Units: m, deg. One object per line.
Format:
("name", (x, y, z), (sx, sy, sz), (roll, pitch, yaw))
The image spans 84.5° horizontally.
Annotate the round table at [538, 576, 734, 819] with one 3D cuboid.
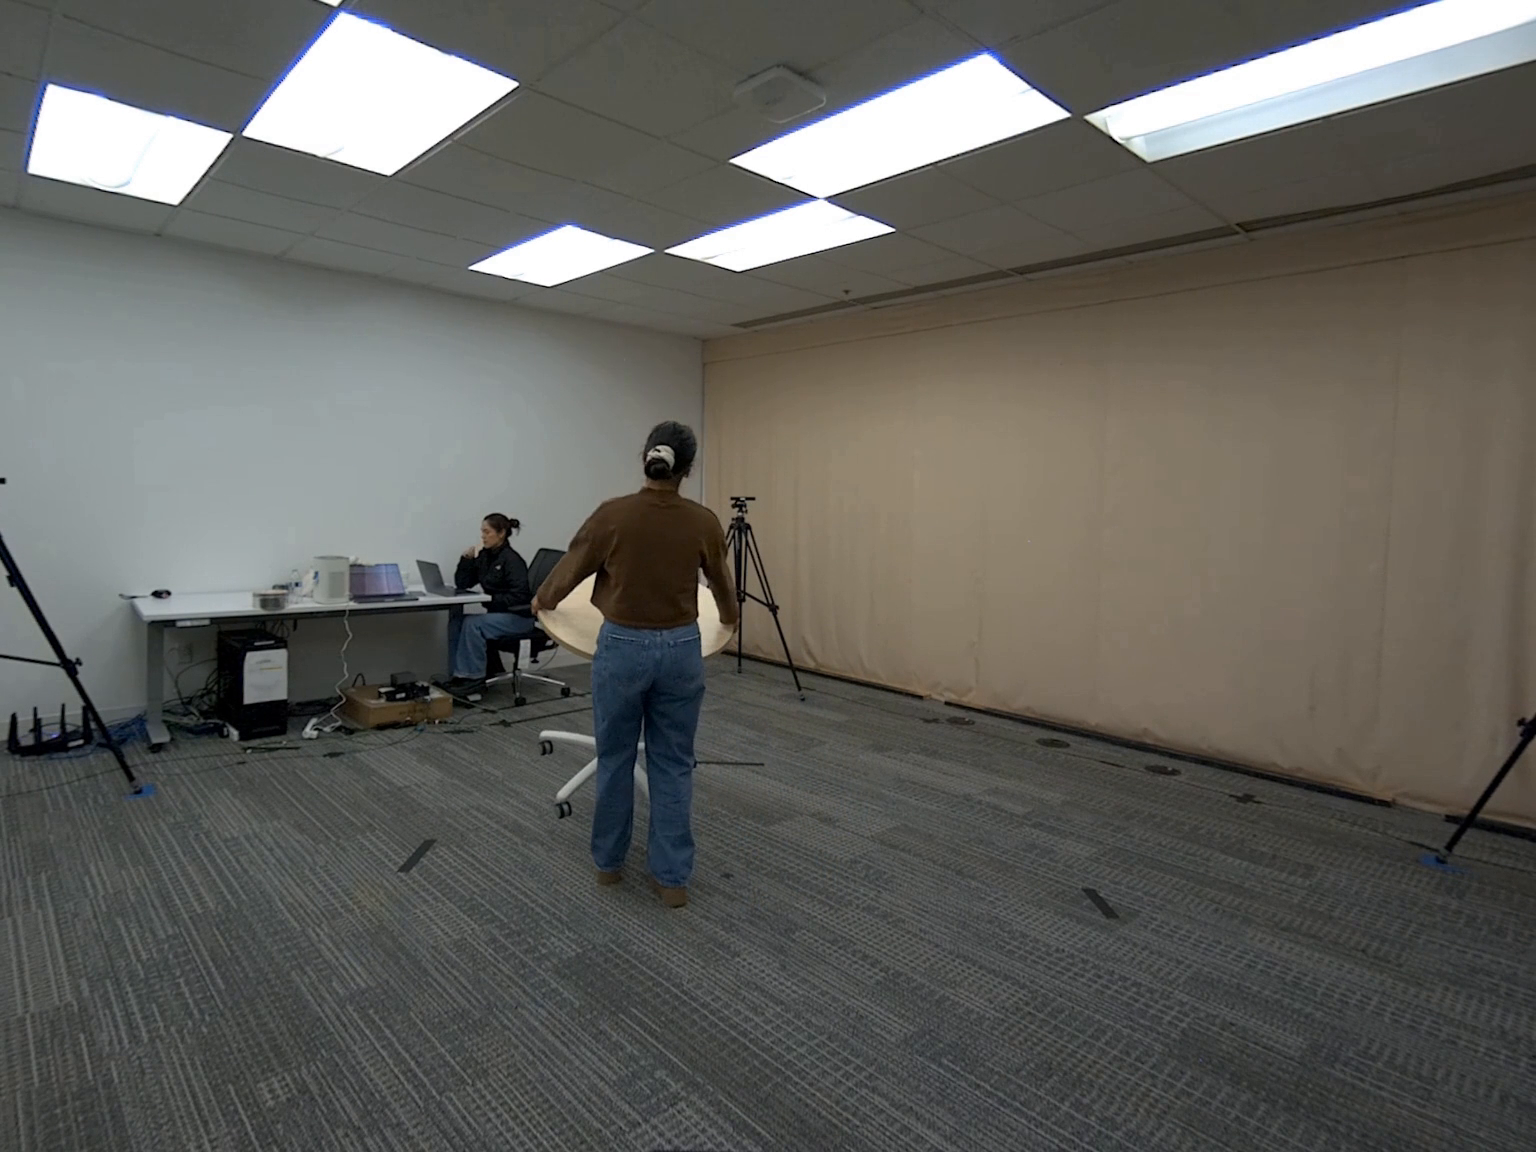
("round table", (-0.601, 0.484, 3.452), (0.781, 0.777, 0.798), (9, 24, -6))
